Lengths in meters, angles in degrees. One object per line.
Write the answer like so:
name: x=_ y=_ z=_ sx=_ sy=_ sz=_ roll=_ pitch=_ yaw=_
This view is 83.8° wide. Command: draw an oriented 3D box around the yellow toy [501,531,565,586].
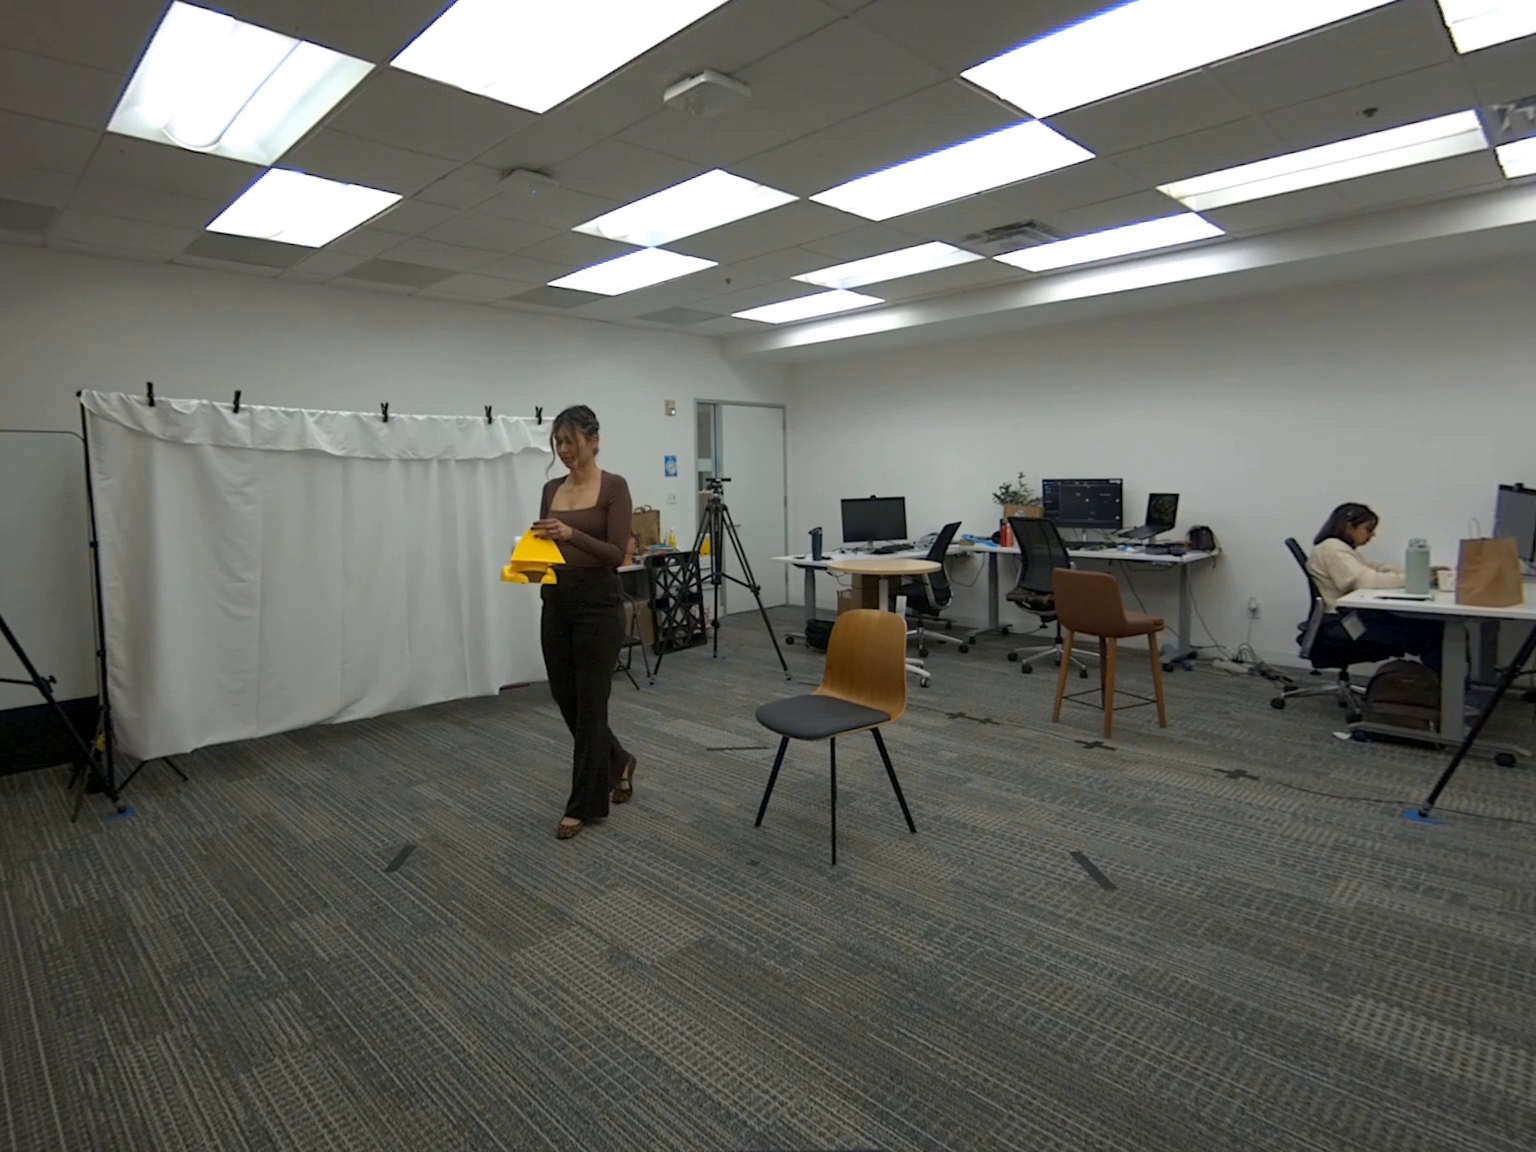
yellow toy: x=-0.879 y=-0.089 z=3.151 sx=0.199 sy=0.231 sz=0.198 roll=3 pitch=0 yaw=-33
